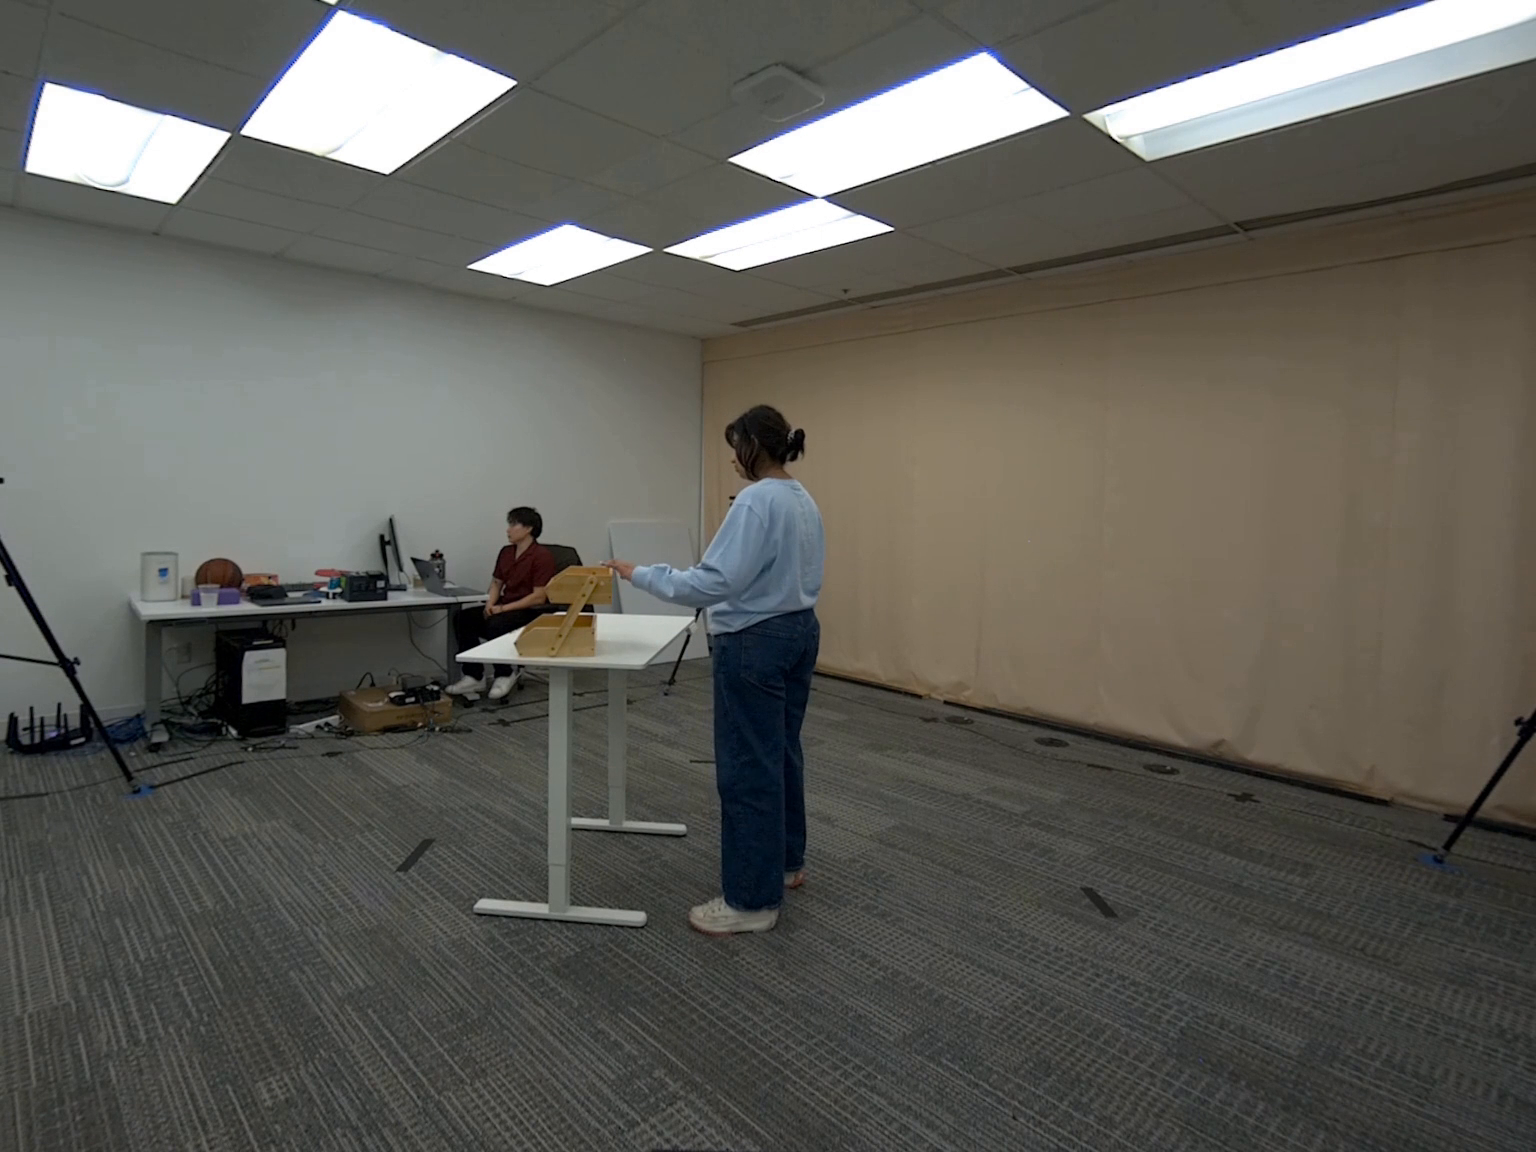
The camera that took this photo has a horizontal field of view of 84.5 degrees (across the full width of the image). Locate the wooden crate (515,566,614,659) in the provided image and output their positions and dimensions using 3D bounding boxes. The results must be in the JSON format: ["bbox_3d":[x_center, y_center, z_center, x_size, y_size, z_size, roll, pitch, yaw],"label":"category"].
[{"bbox_3d":[-0.671,0.111,2.781,0.300,0.272,0.328,1,4,-10],"label":"wooden crate"}]
